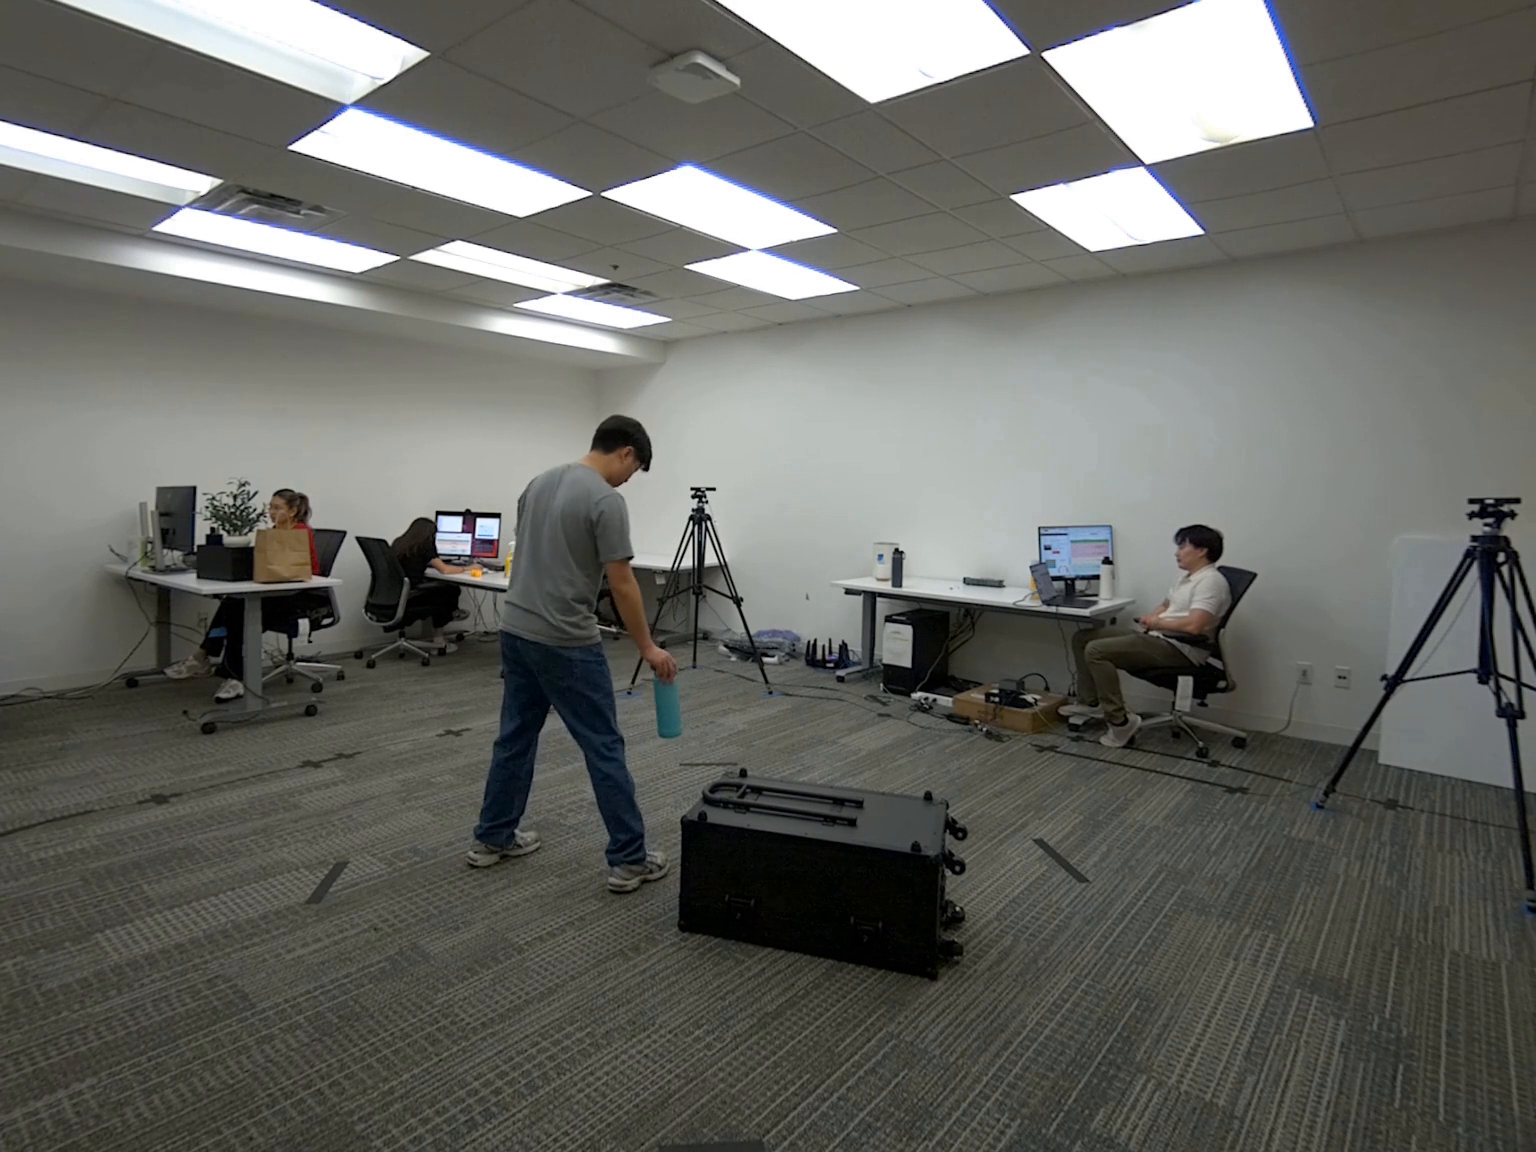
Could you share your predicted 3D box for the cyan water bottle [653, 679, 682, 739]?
[{"bbox_3d":[-0.386,0.436,3.060,0.092,0.281,0.093,-1,7,-2],"label":"cyan water bottle"}]
